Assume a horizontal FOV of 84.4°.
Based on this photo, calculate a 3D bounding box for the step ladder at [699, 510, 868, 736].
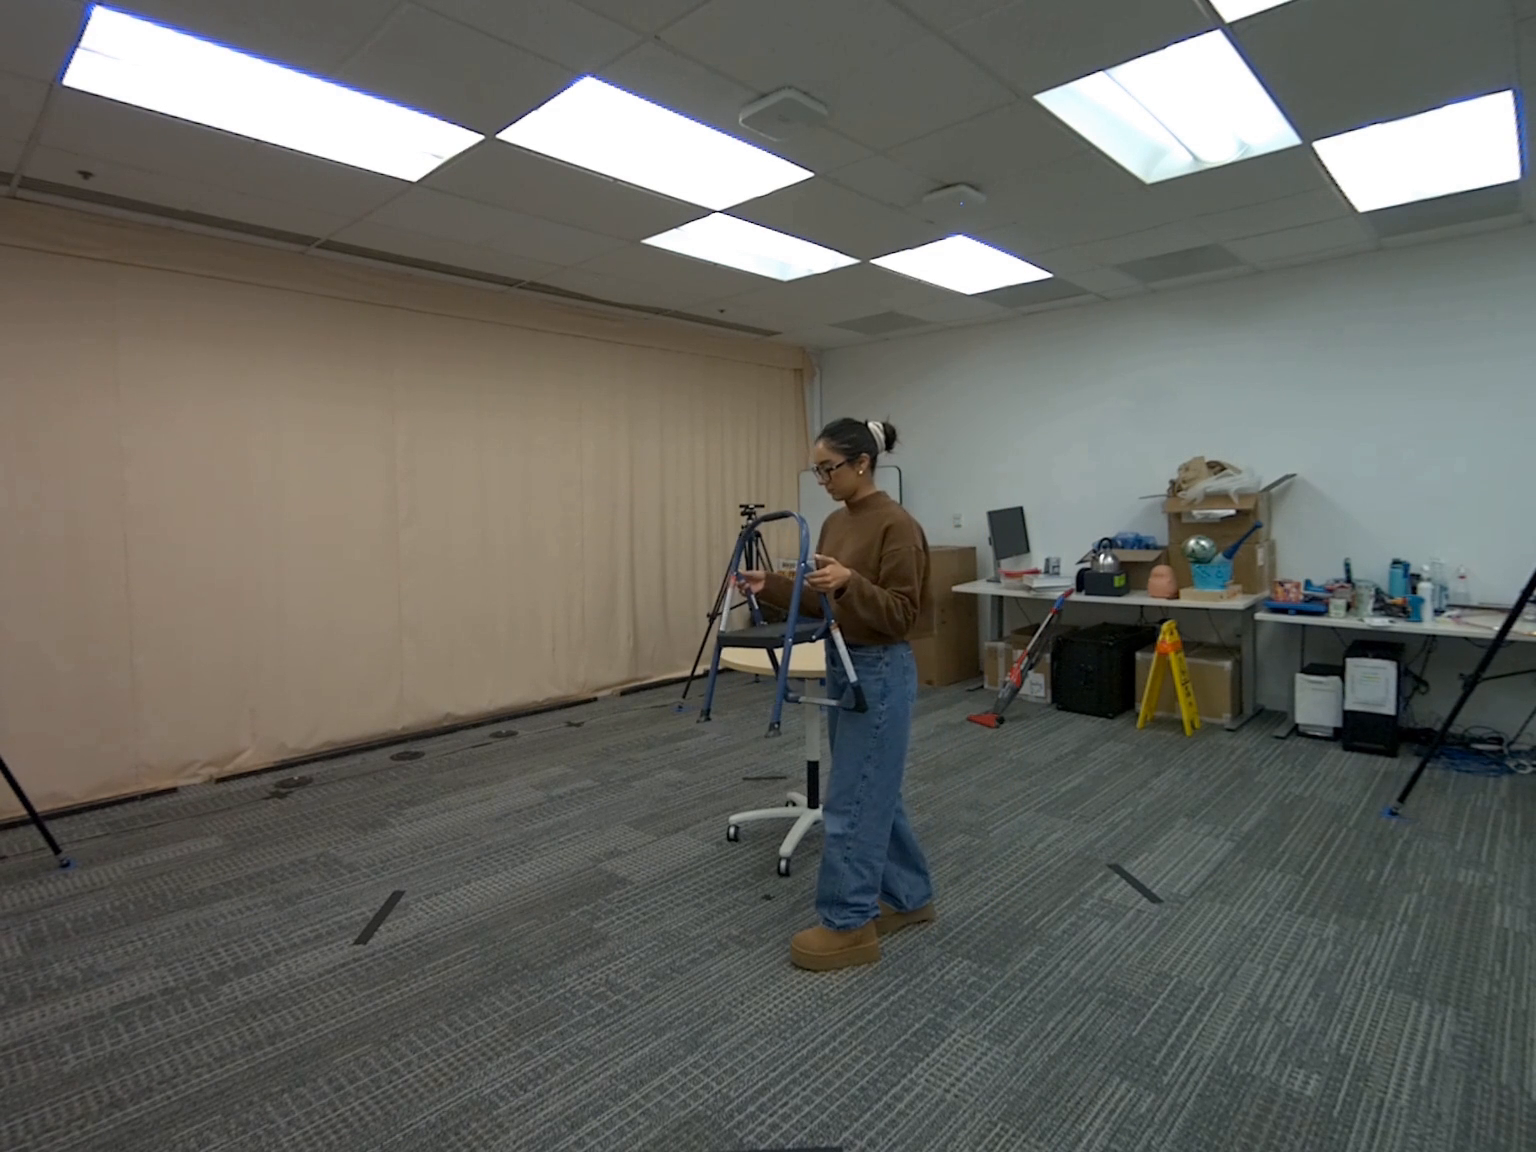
[{"bbox_3d":[0.006,0.118,2.504,0.340,0.607,0.442,-6,-2,-32],"label":"step ladder"}]
